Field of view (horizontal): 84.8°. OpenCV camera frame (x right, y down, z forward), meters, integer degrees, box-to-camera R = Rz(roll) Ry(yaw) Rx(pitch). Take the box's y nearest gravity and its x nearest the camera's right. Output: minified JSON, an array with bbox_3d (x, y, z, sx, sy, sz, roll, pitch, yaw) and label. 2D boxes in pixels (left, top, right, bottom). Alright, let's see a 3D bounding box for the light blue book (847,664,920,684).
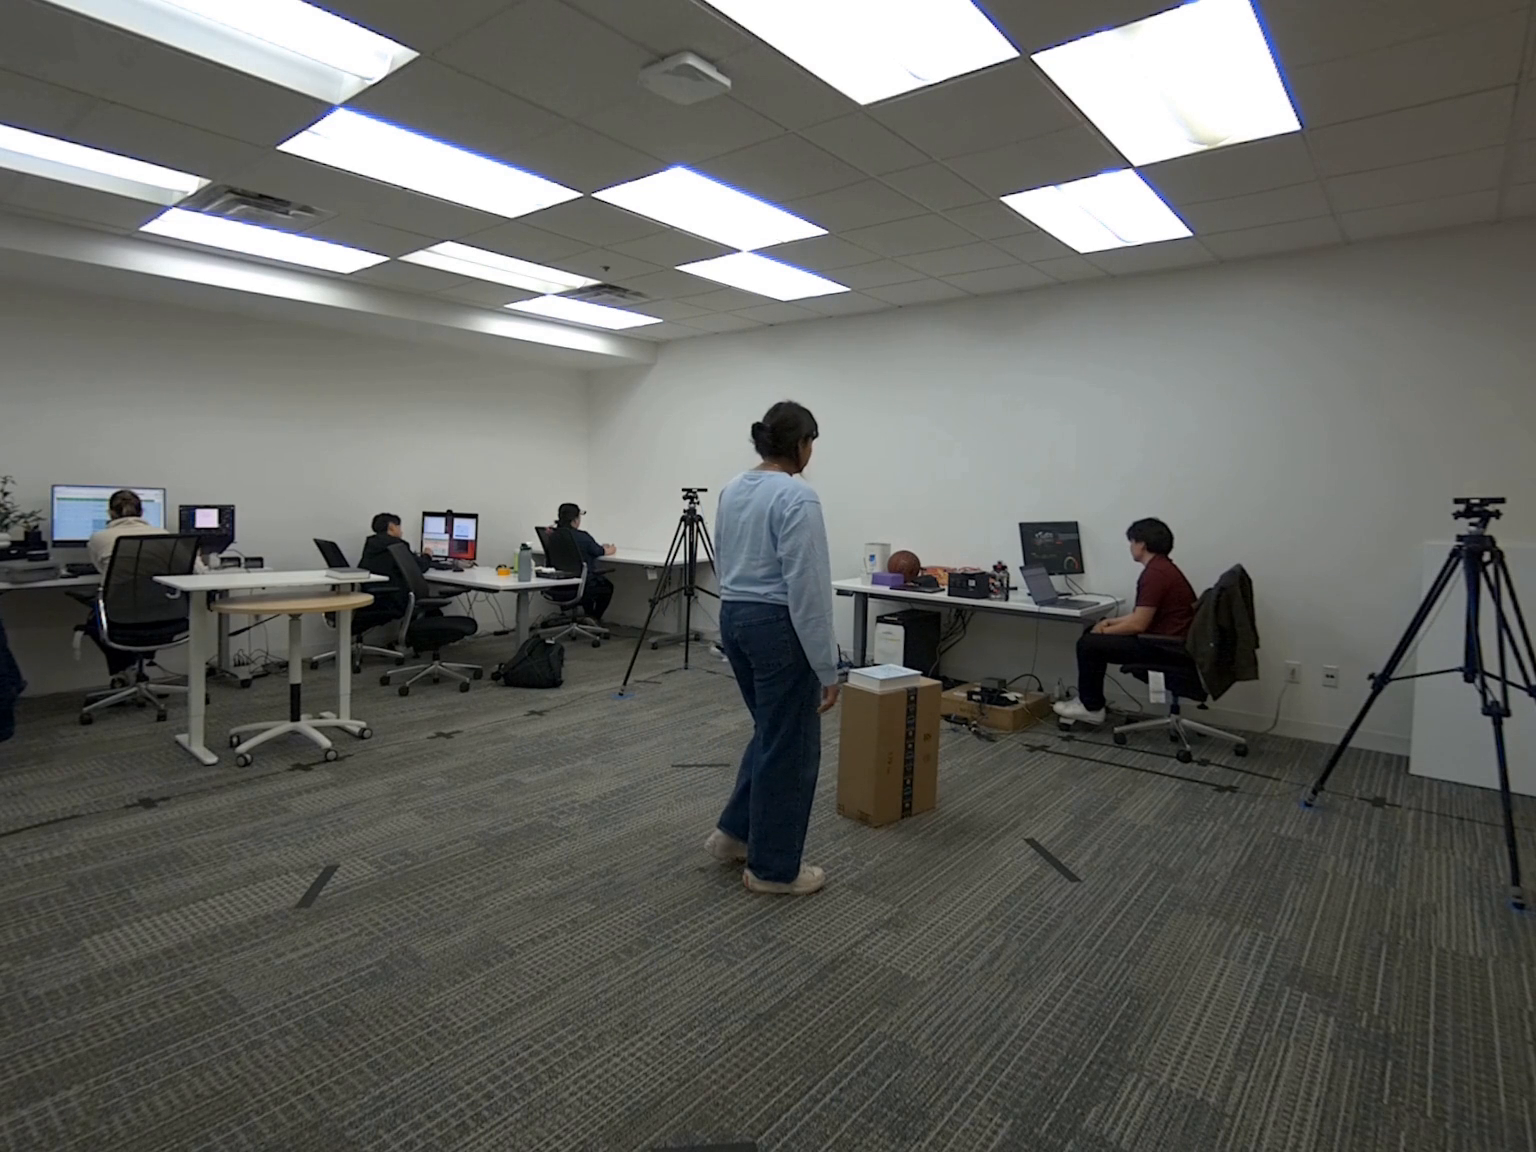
[{"bbox_3d":[0.498,0.436,3.667,0.253,0.059,0.198,-4,9,-38],"label":"light blue book"}]
